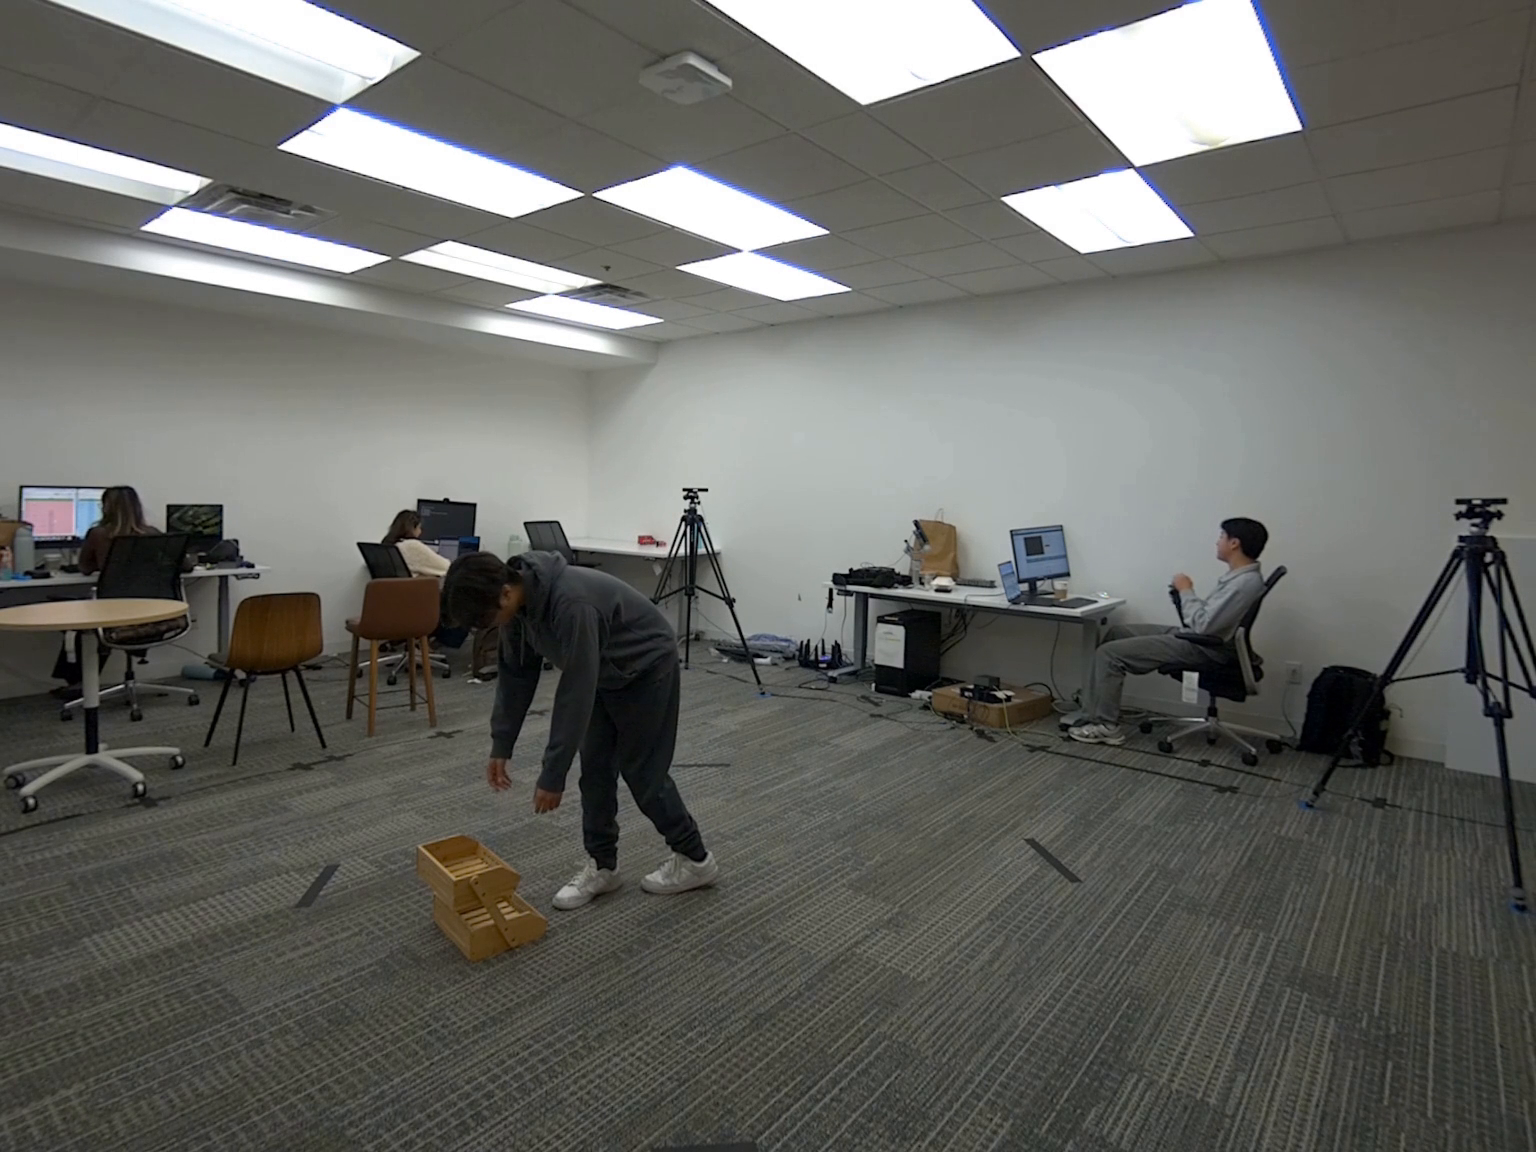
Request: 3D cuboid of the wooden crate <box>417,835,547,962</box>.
[{"bbox_3d":[-0.899,0.968,2.644,0.293,0.272,0.335,-4,6,-41],"label":"wooden crate"}]
